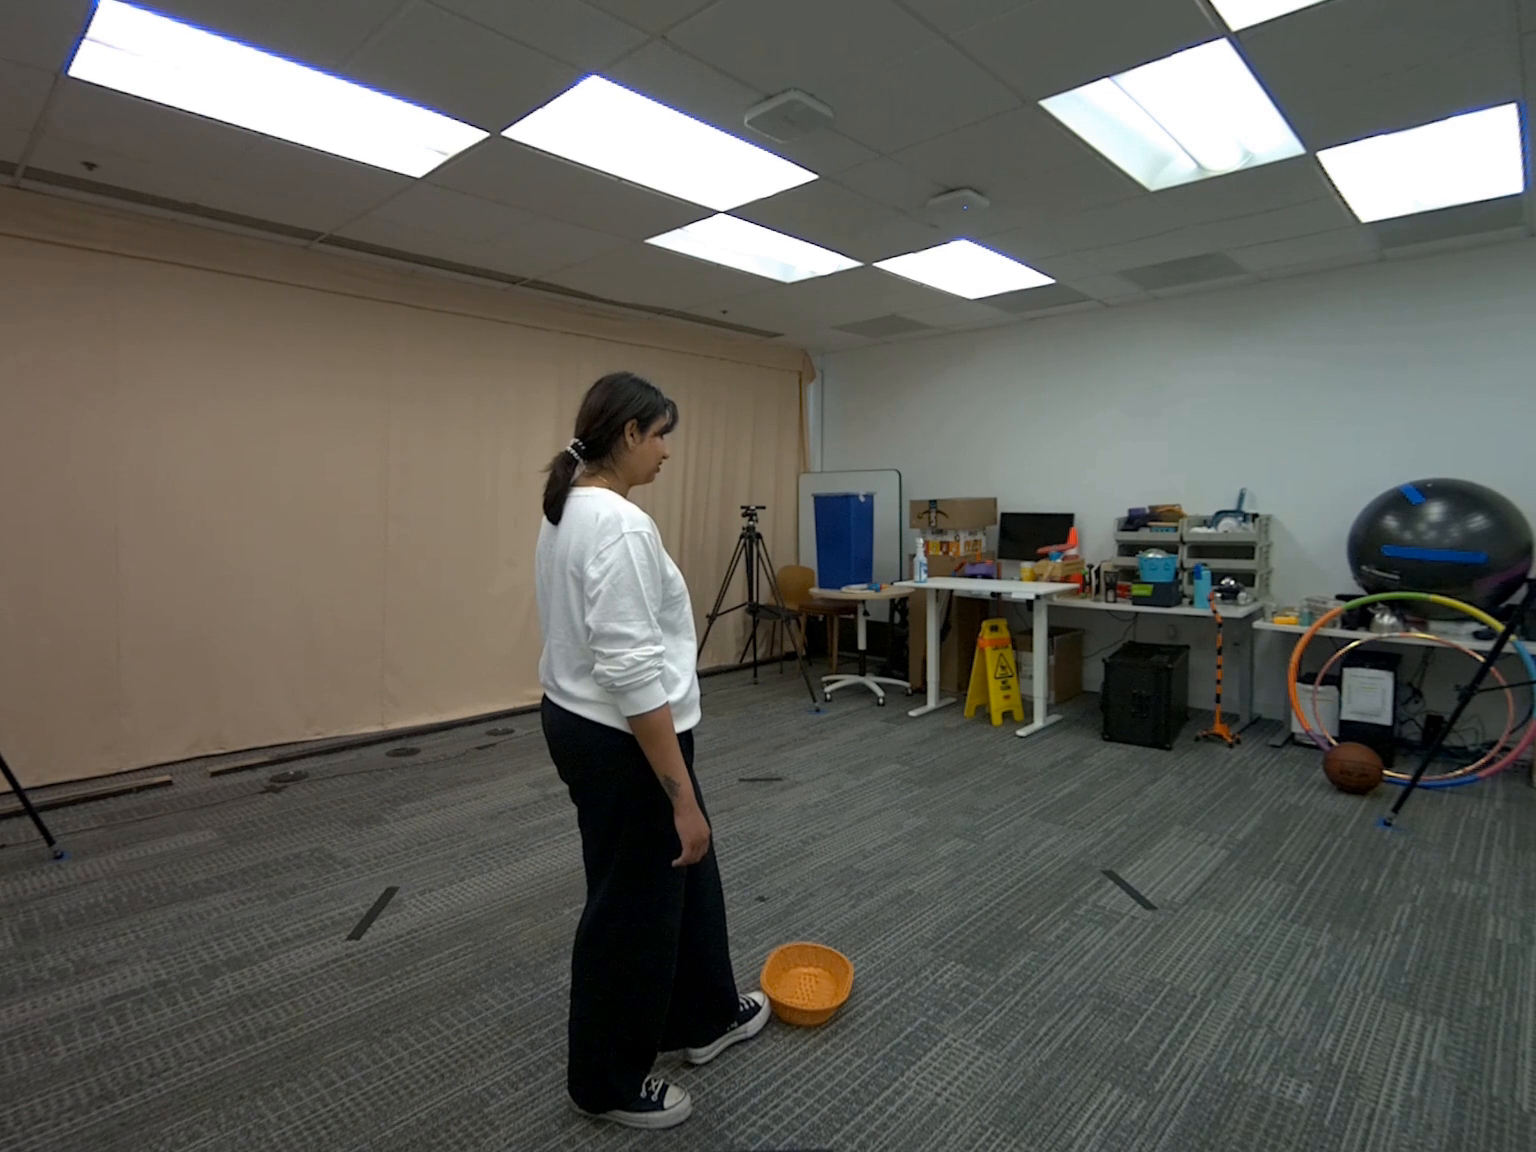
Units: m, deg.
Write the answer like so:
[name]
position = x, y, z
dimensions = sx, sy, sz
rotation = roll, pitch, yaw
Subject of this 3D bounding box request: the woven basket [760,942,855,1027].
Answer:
[woven basket]
position = 0.122, 1.154, 2.379
dimensions = 0.257, 0.073, 0.345
rotation = 4, 4, 15
